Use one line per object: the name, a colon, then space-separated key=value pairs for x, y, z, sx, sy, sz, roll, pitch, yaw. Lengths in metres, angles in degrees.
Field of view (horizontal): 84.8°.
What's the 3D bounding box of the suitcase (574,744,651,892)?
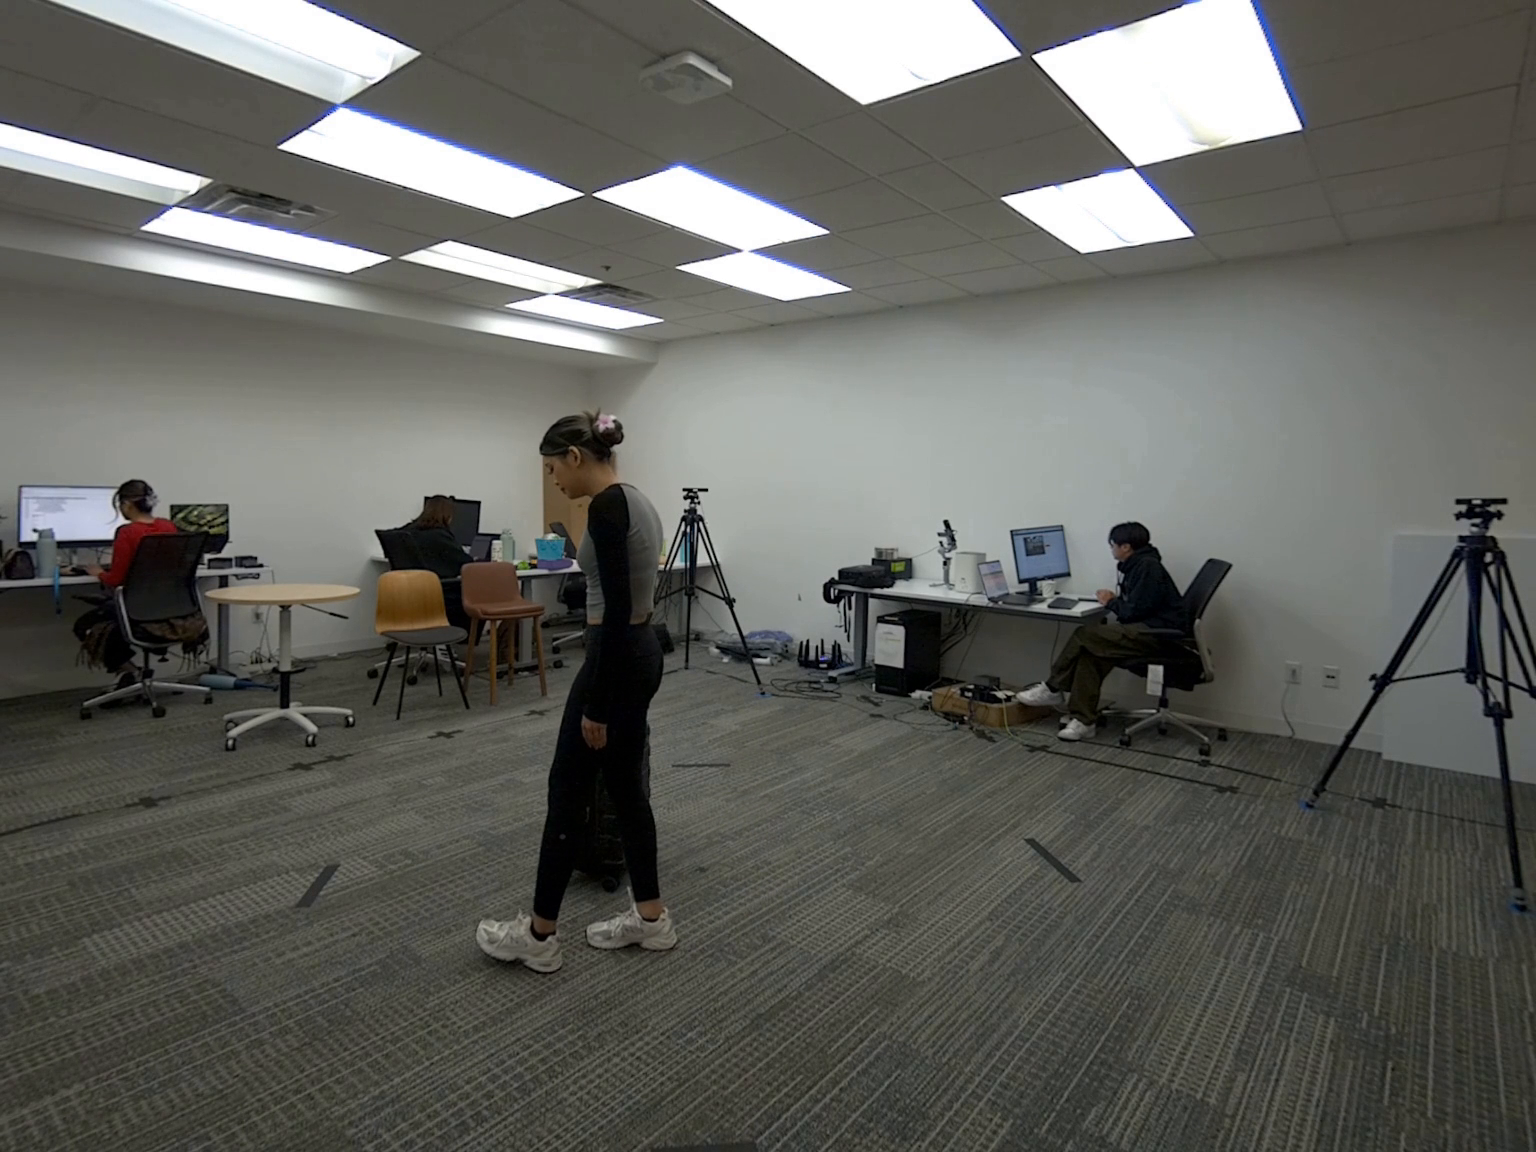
suitcase: x=-0.596 y=0.789 z=3.079 sx=0.252 sy=0.548 sz=0.371 roll=3 pitch=3 yaw=11
